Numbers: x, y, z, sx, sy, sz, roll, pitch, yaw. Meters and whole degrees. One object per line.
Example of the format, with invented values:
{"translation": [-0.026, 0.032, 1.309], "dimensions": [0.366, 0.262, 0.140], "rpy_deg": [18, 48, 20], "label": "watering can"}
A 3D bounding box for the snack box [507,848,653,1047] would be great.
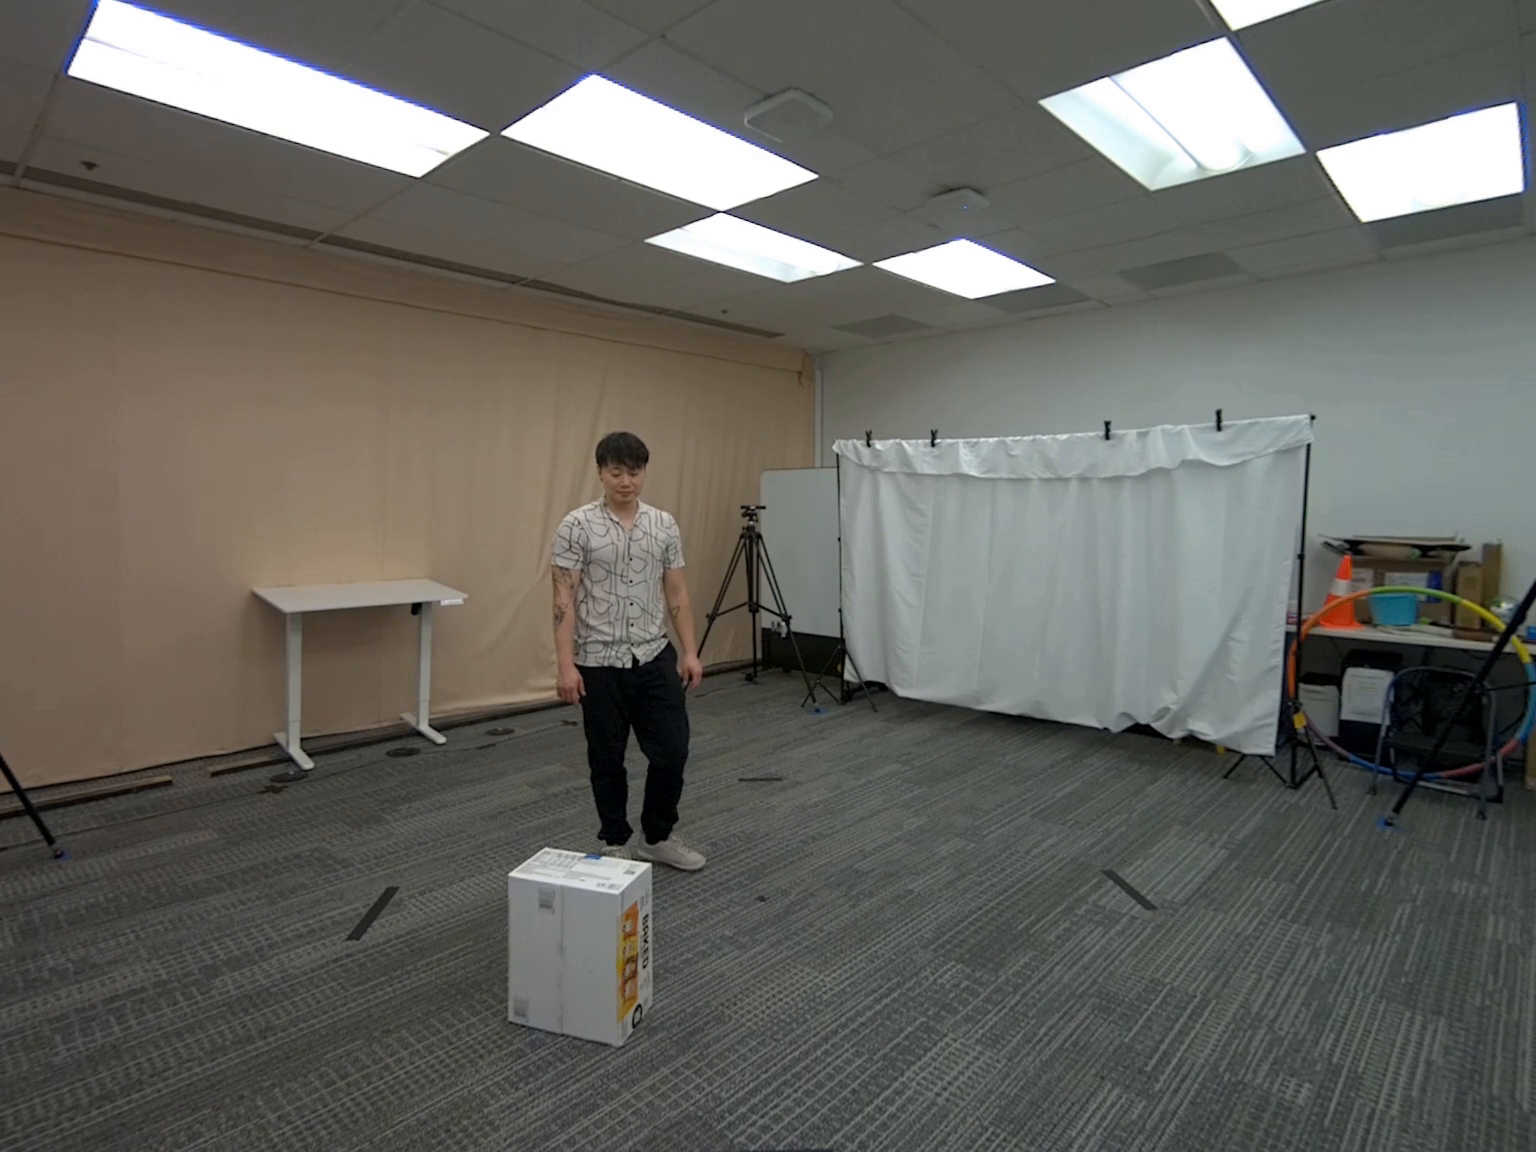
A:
{"translation": [-0.509, 0.996, 2.305], "dimensions": [0.347, 0.405, 0.202], "rpy_deg": [1, 2, 18], "label": "snack box"}
